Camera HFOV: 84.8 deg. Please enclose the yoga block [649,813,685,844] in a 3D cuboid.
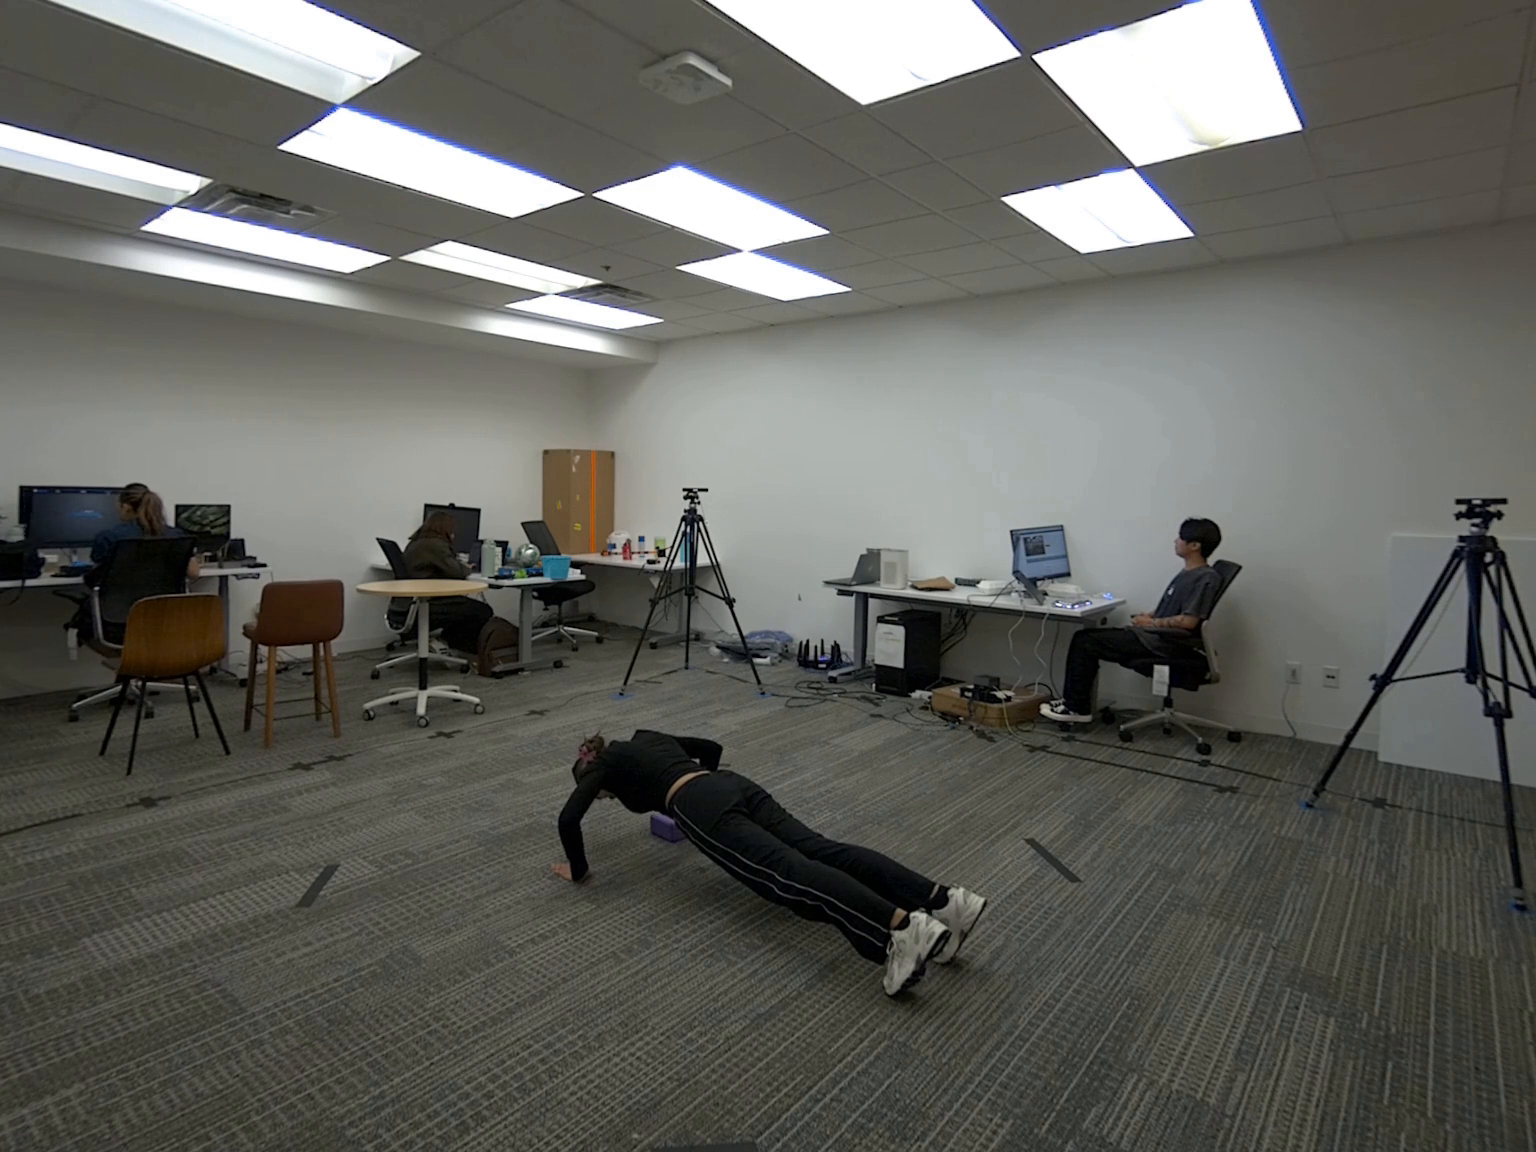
[{"bbox_3d":[-0.357,0.994,3.457,0.154,0.076,0.222,5,6,44],"label":"yoga block"}]
